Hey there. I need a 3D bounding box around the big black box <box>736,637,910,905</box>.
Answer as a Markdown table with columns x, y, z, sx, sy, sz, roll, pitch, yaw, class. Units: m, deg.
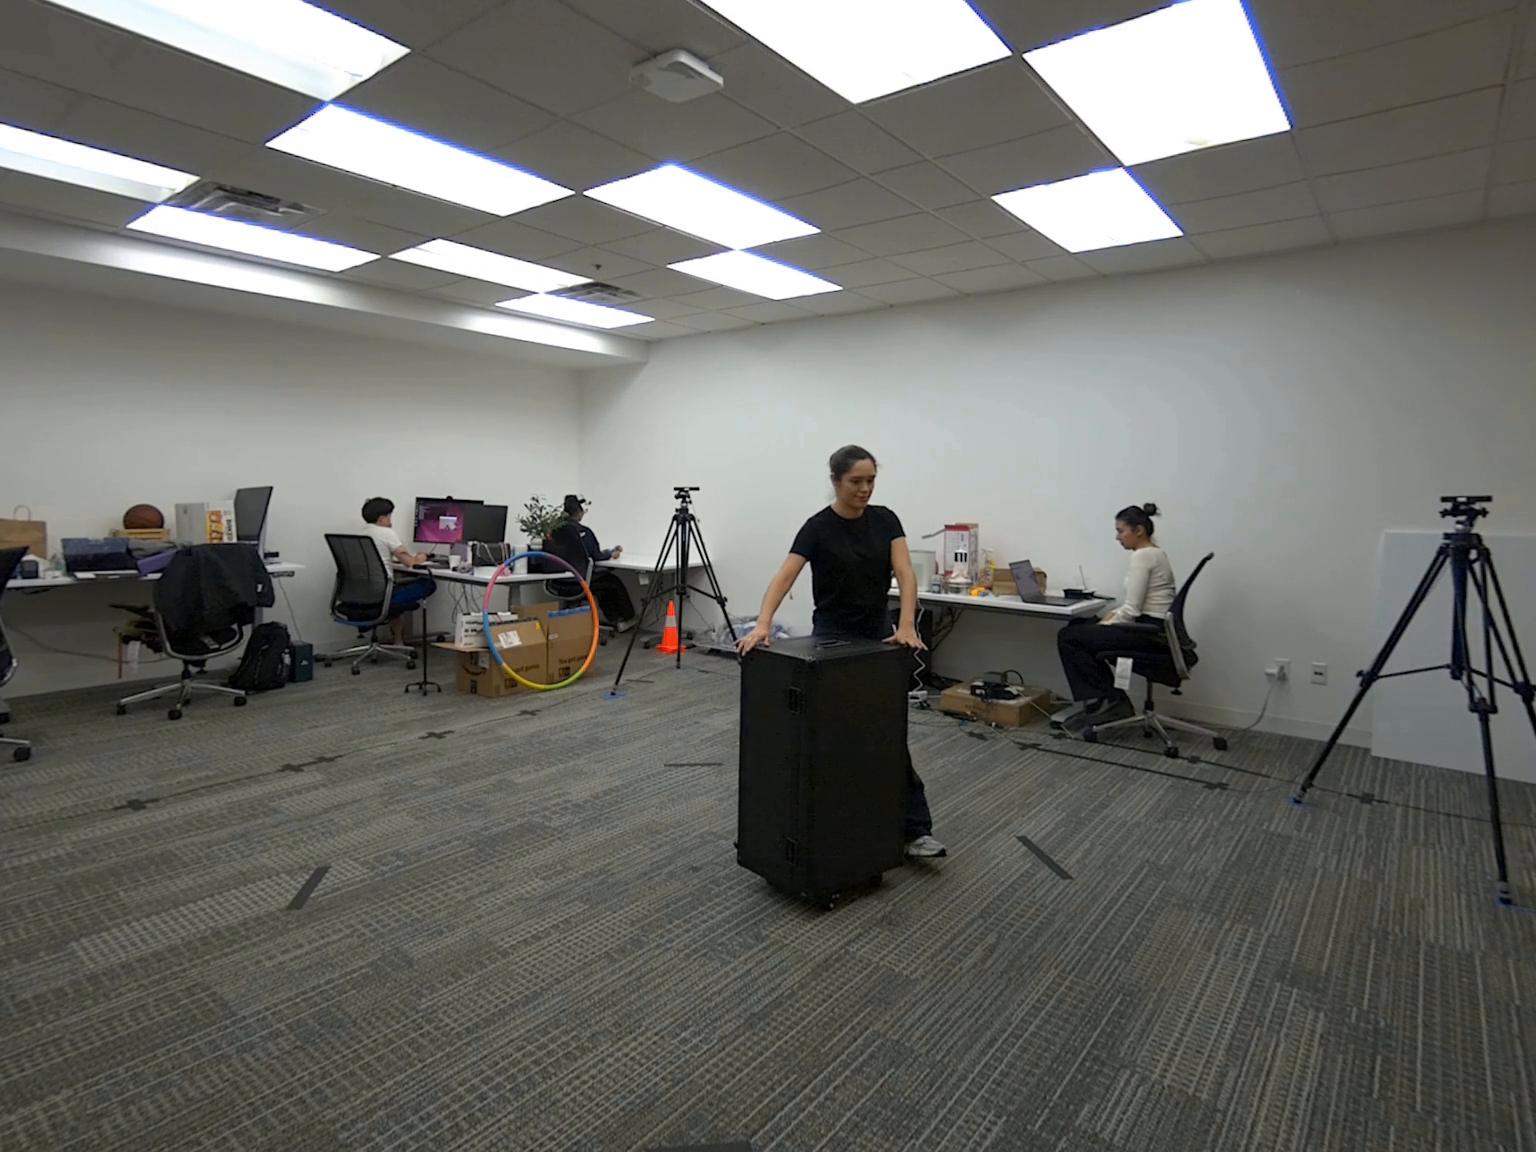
| x | y | z | sx | sy | sz | roll | pitch | yaw | class |
| --- | --- | --- | --- | --- | --- | --- | --- | --- | --- |
| 0.197 | 0.659 | 2.993 | 0.505 | 0.860 | 0.409 | -1 | 3 | -39 | big black box |
